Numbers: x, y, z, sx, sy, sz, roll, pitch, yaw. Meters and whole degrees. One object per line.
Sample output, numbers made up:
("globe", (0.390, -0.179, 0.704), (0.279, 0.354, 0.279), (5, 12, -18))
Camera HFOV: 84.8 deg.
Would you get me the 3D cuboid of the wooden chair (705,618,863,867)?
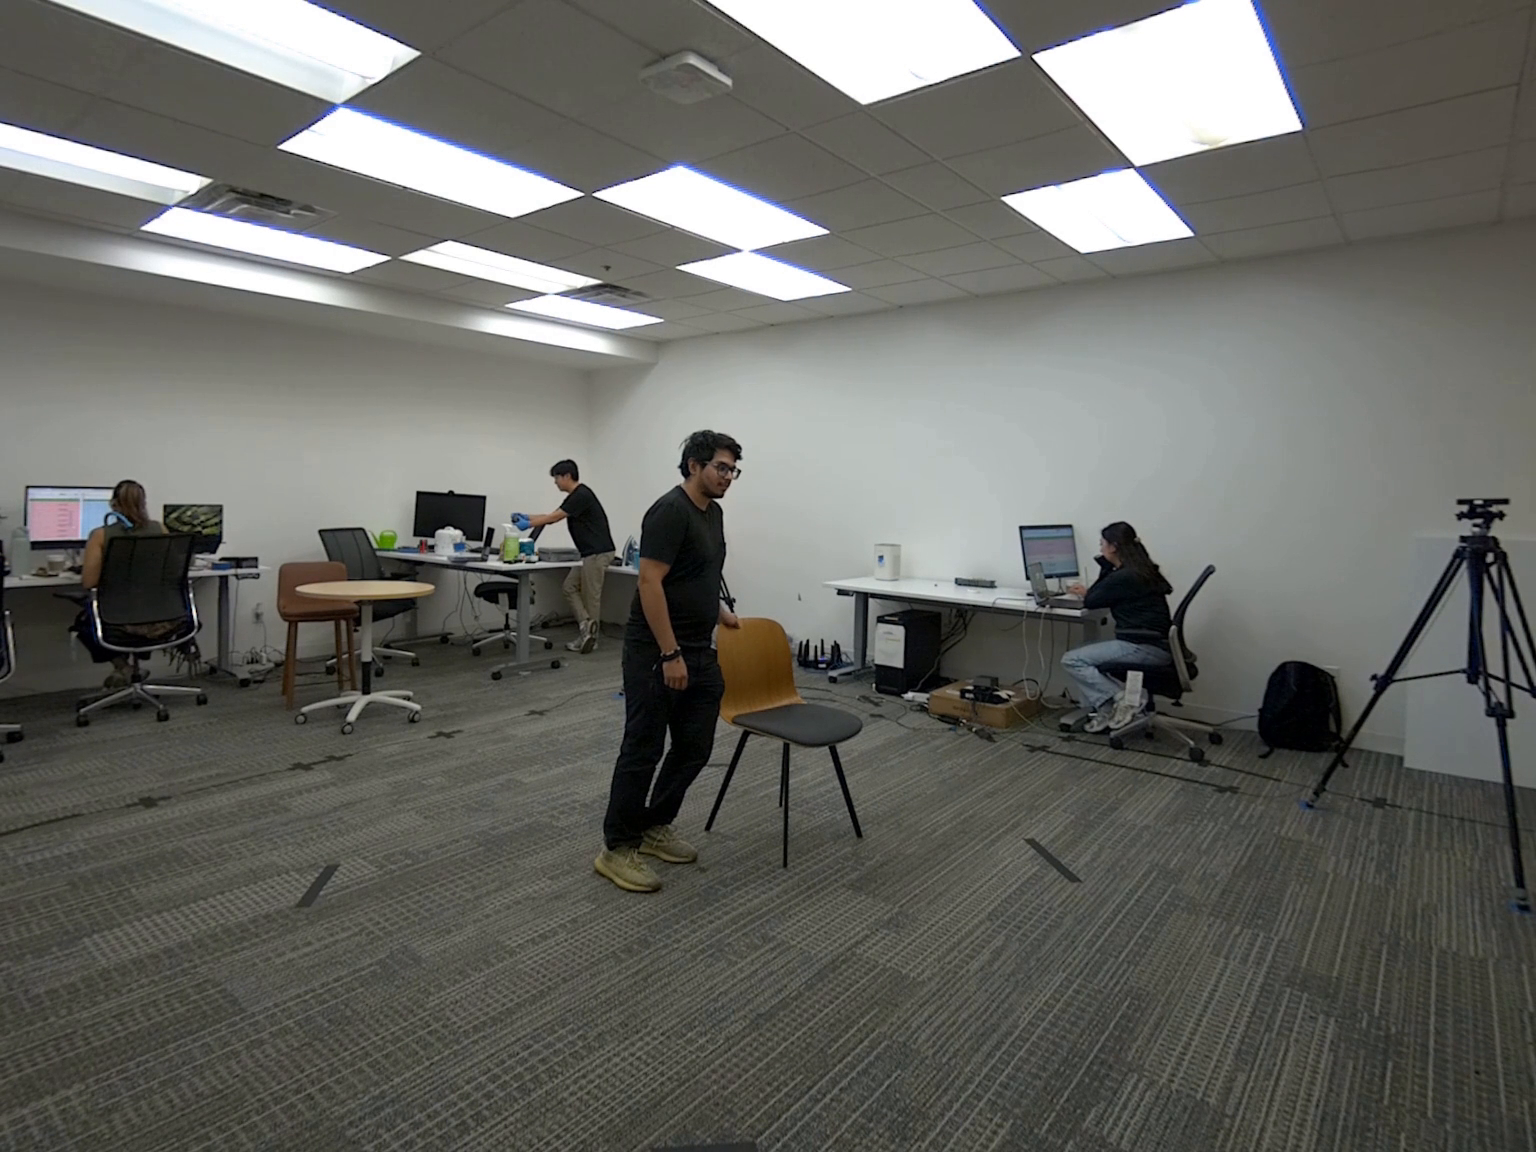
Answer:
("wooden chair", (0.073, 0.620, 3.416), (0.463, 0.877, 0.539), (-2, 1, -44))
